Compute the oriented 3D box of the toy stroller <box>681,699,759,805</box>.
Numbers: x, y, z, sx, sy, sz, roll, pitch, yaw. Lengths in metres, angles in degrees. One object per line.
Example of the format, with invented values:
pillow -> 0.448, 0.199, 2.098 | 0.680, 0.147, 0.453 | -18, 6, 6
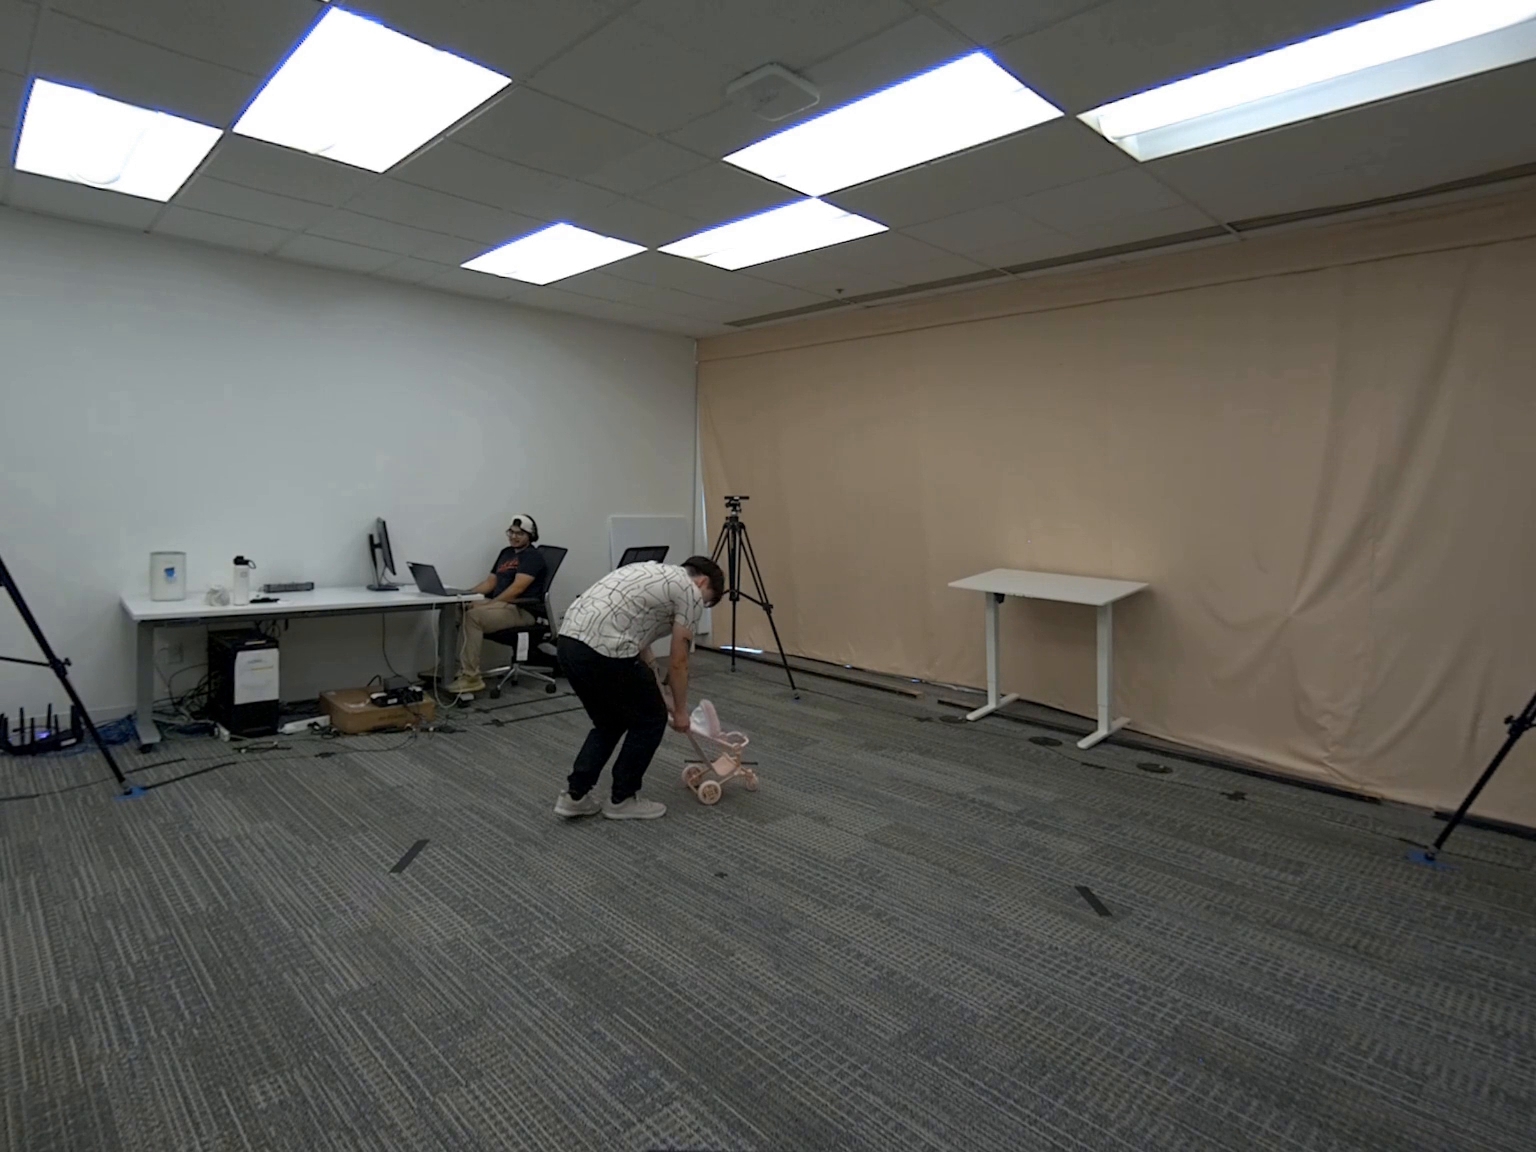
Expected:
toy stroller -> -0.265, 0.808, 3.948 | 0.339, 0.530, 0.286 | -19, 10, -15
